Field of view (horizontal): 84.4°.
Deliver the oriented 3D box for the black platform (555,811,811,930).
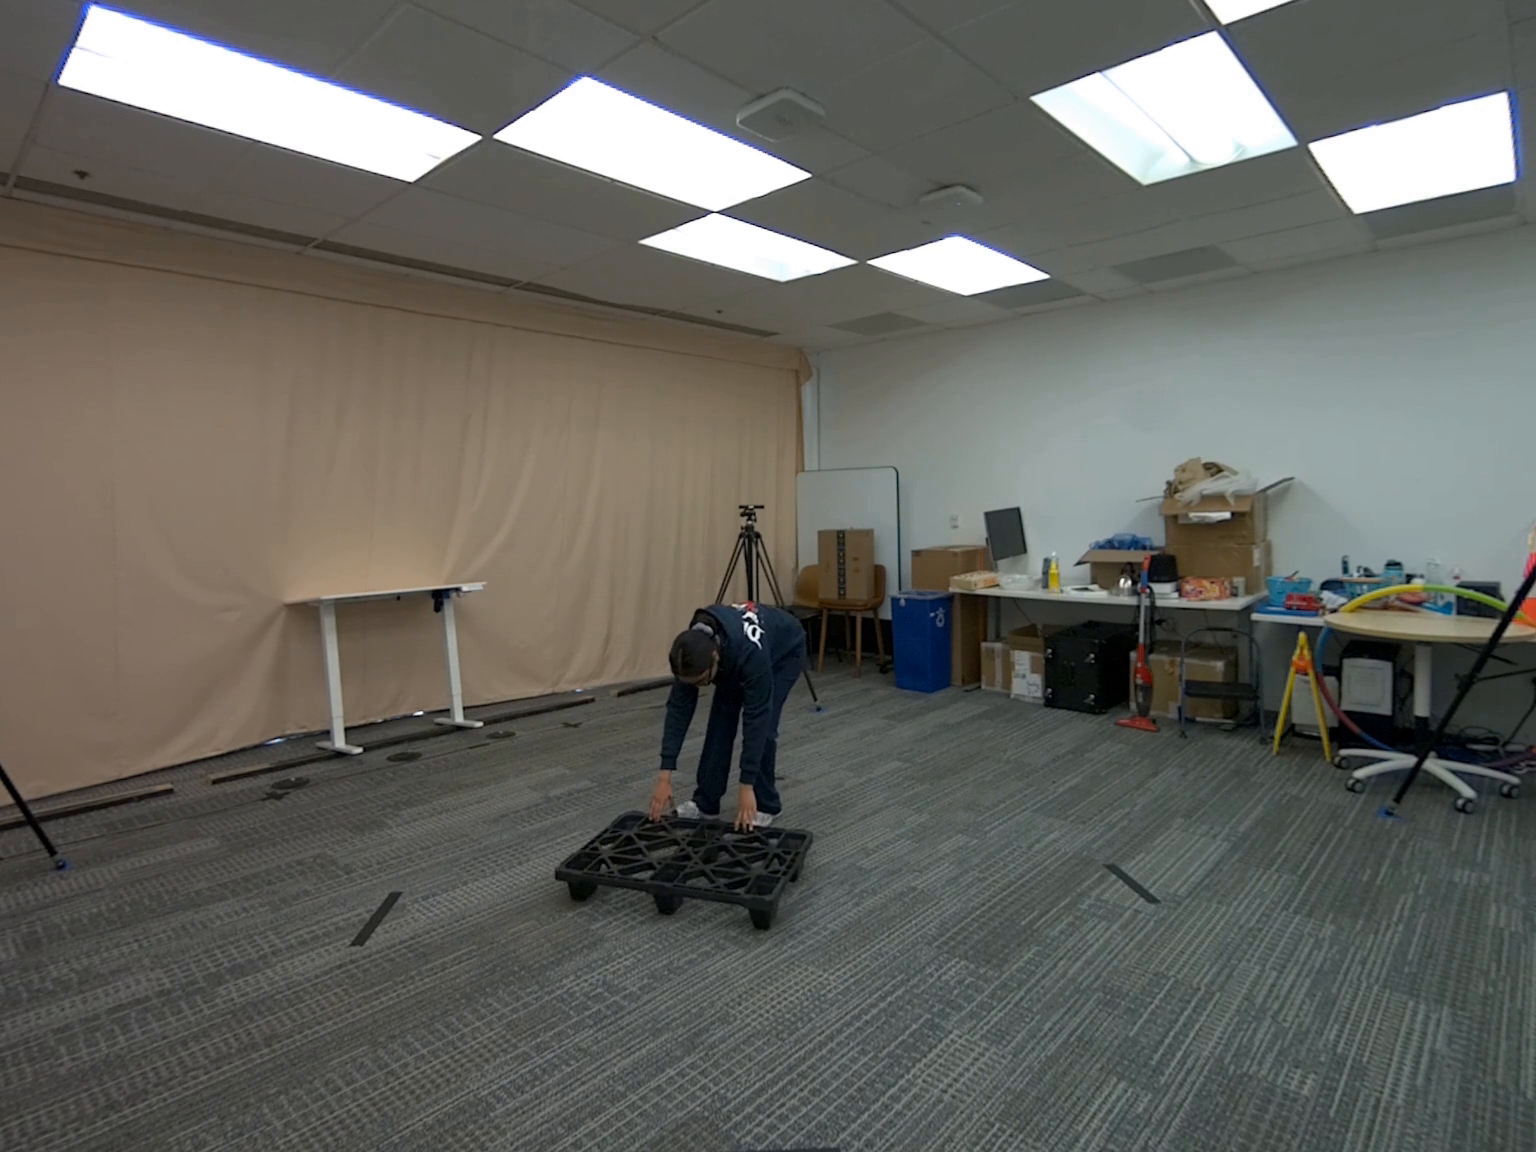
[{"bbox_3d":[-0.284,1.066,3.103,0.822,0.143,0.595,1,5,18],"label":"black platform"}]
